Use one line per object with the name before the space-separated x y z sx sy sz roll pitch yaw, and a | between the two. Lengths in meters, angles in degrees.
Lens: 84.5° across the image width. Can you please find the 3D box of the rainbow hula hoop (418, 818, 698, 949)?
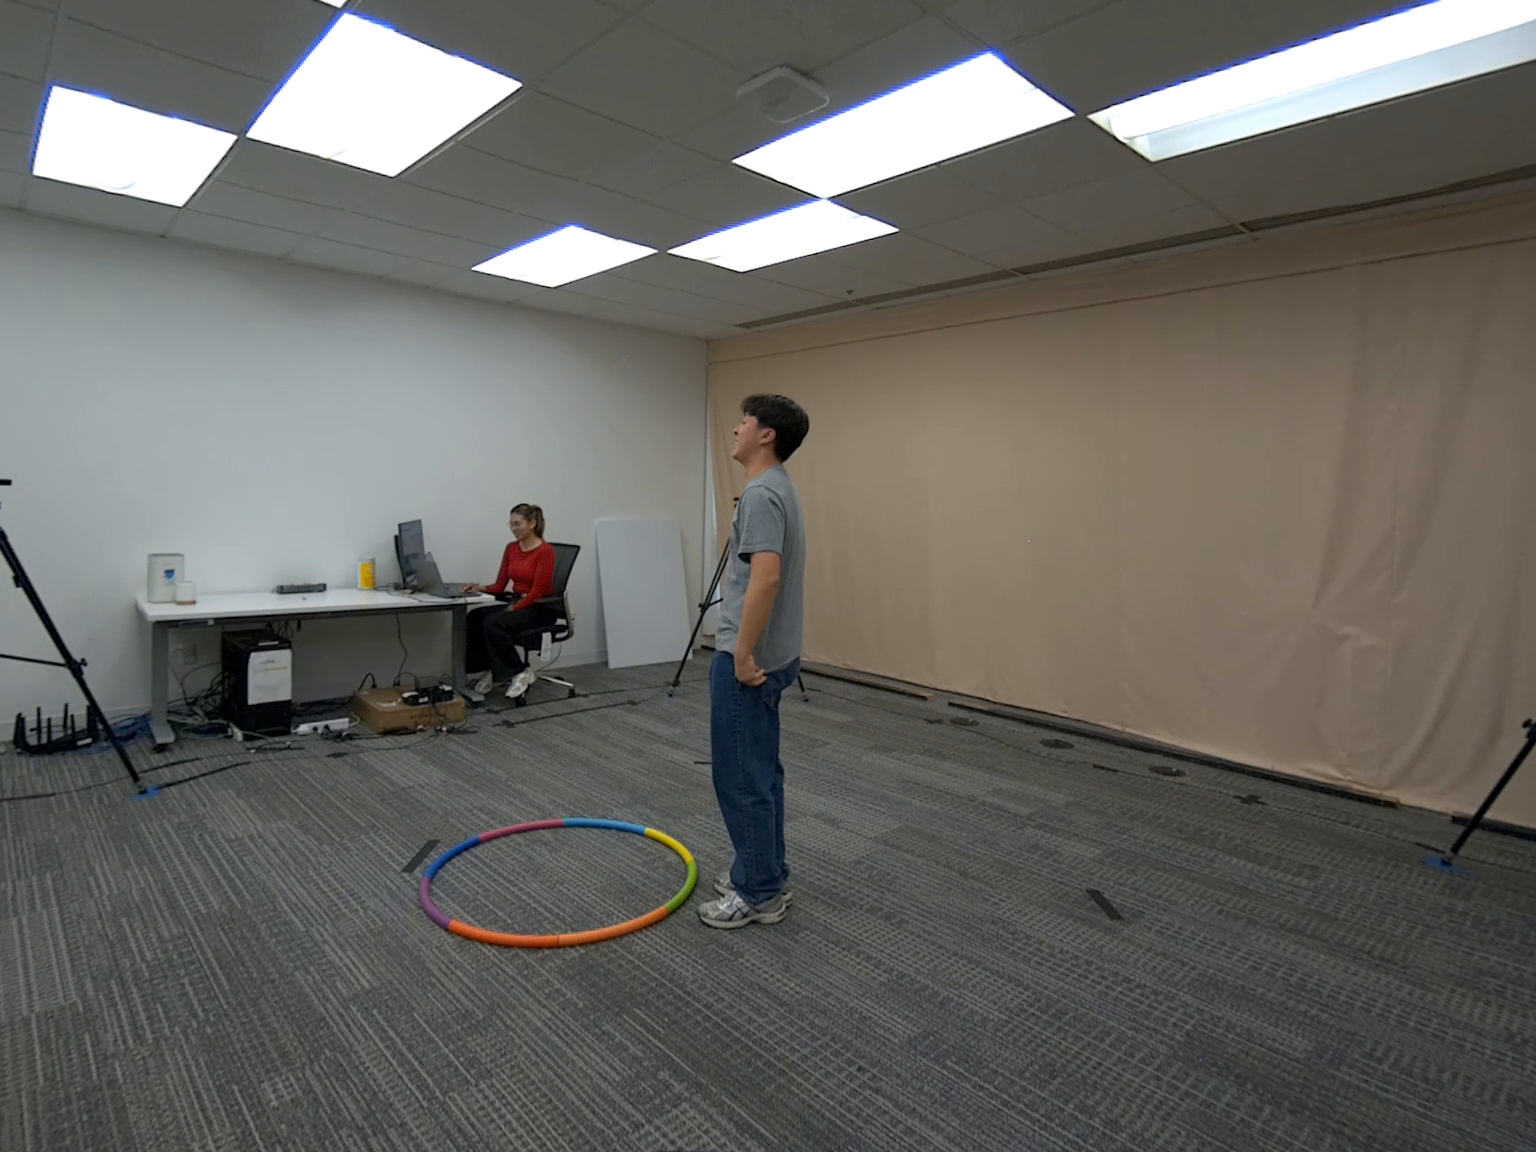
rainbow hula hoop | -0.755 1.065 3.066 0.978 0.035 0.982 1 5 -1
